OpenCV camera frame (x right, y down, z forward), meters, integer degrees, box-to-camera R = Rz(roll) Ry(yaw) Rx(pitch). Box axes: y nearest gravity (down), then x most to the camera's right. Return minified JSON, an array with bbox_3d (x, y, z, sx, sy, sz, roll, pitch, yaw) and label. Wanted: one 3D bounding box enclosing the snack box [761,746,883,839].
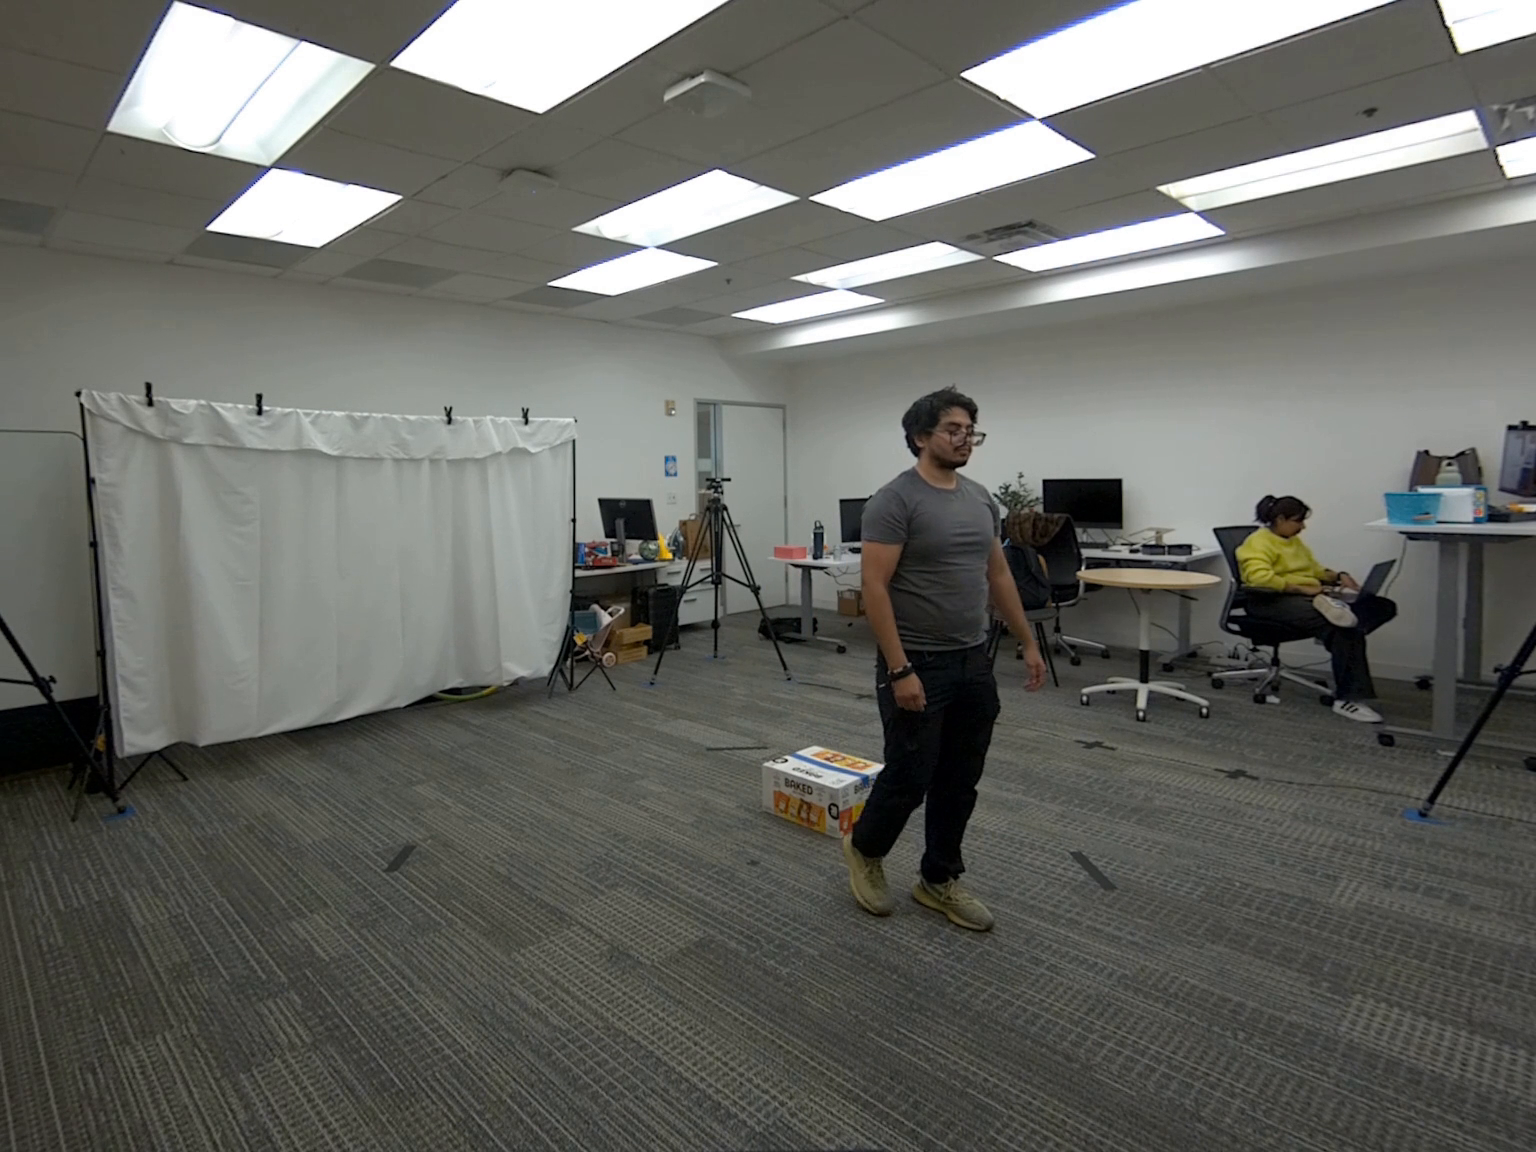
[{"bbox_3d":[0.241,0.887,3.546,0.418,0.205,0.331,5,8,44],"label":"snack box"}]
